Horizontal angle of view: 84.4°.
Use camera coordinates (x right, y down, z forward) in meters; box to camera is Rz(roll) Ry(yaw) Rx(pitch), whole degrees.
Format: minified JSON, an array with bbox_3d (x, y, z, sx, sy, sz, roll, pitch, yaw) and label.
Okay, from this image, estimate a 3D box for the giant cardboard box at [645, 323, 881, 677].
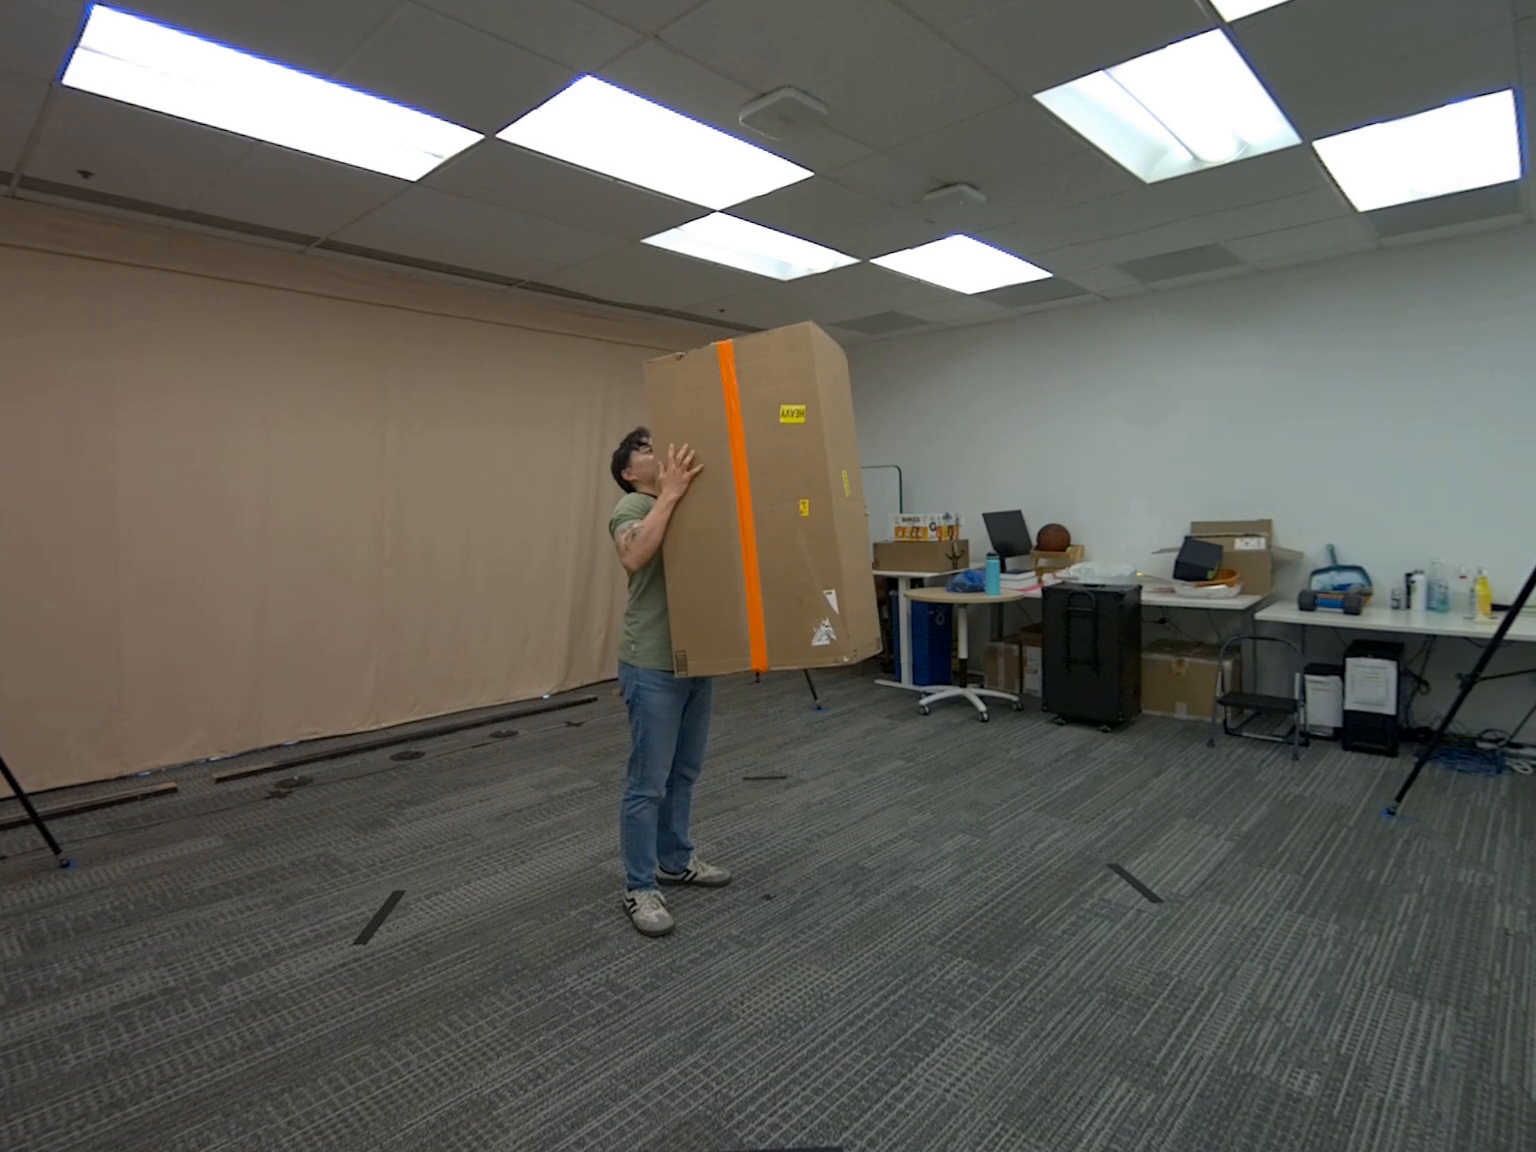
[{"bbox_3d":[-0.005,-0.209,2.754,0.590,1.029,0.416,-8,-5,23],"label":"giant cardboard box"}]
